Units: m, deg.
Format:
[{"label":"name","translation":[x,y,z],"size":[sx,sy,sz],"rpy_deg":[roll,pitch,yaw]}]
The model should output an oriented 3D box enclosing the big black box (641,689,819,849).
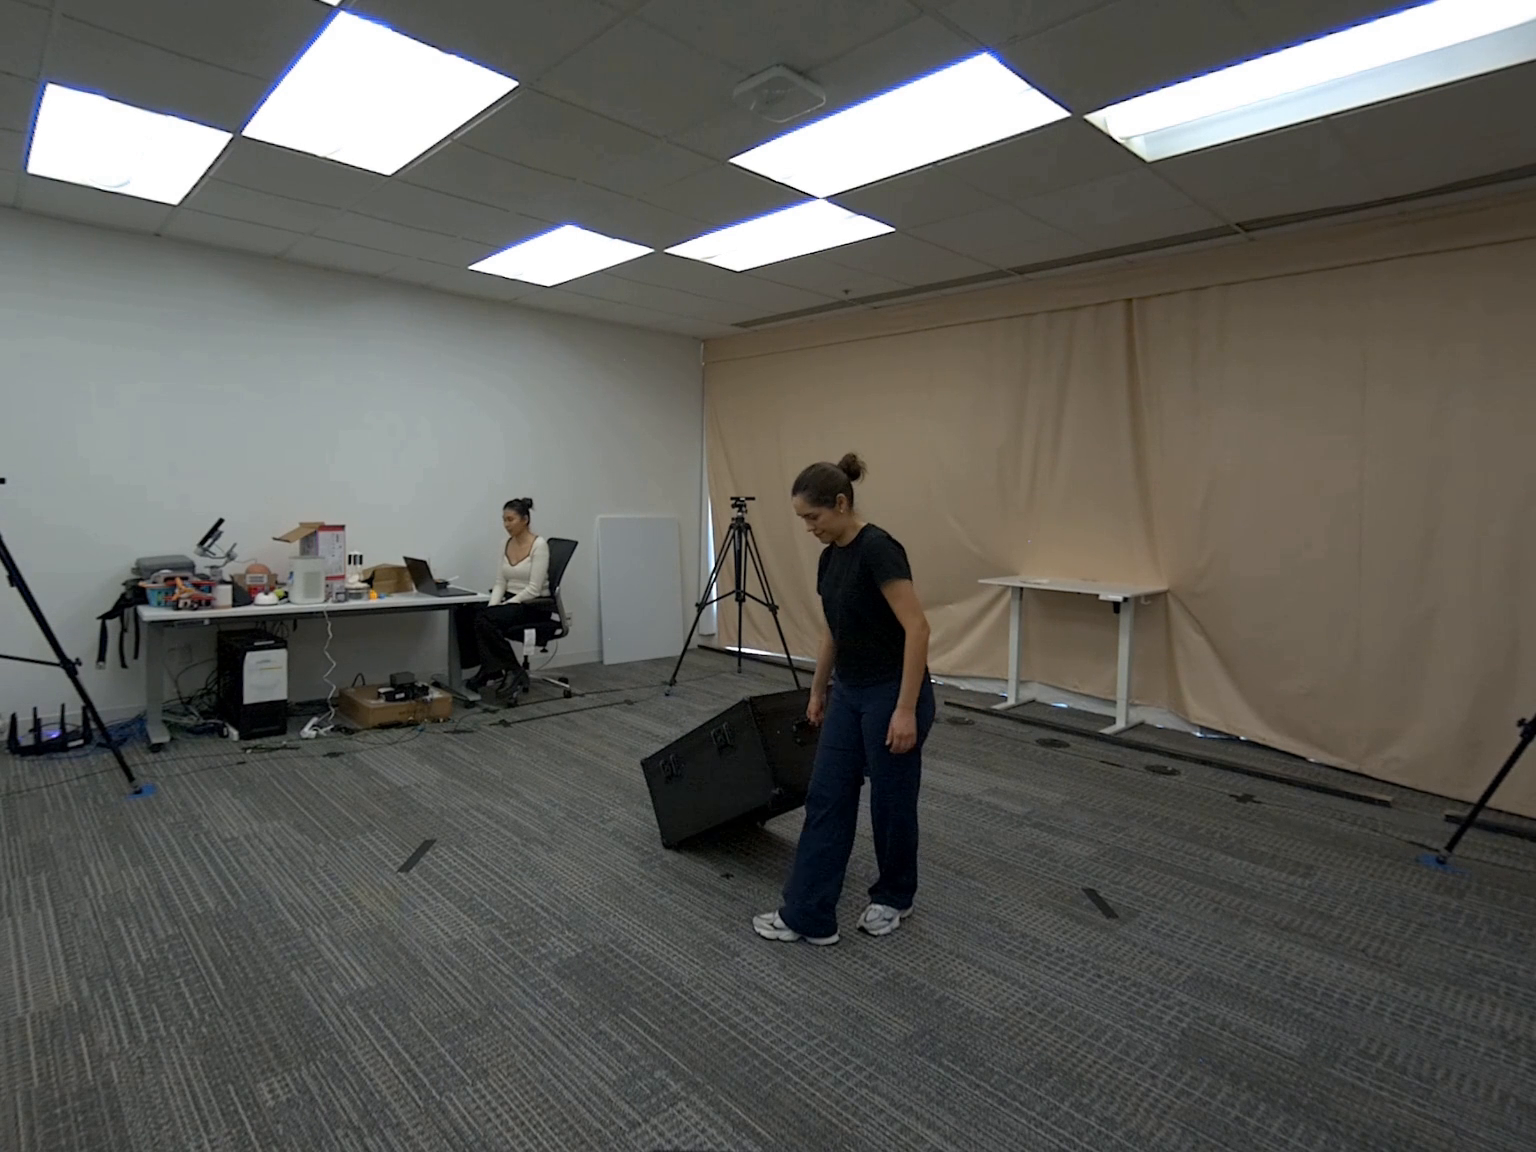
[{"label":"big black box","translation":[-0.083,0.764,3.285],"size":[0.509,0.403,0.865],"rpy_deg":[-3,-24,-40]}]
